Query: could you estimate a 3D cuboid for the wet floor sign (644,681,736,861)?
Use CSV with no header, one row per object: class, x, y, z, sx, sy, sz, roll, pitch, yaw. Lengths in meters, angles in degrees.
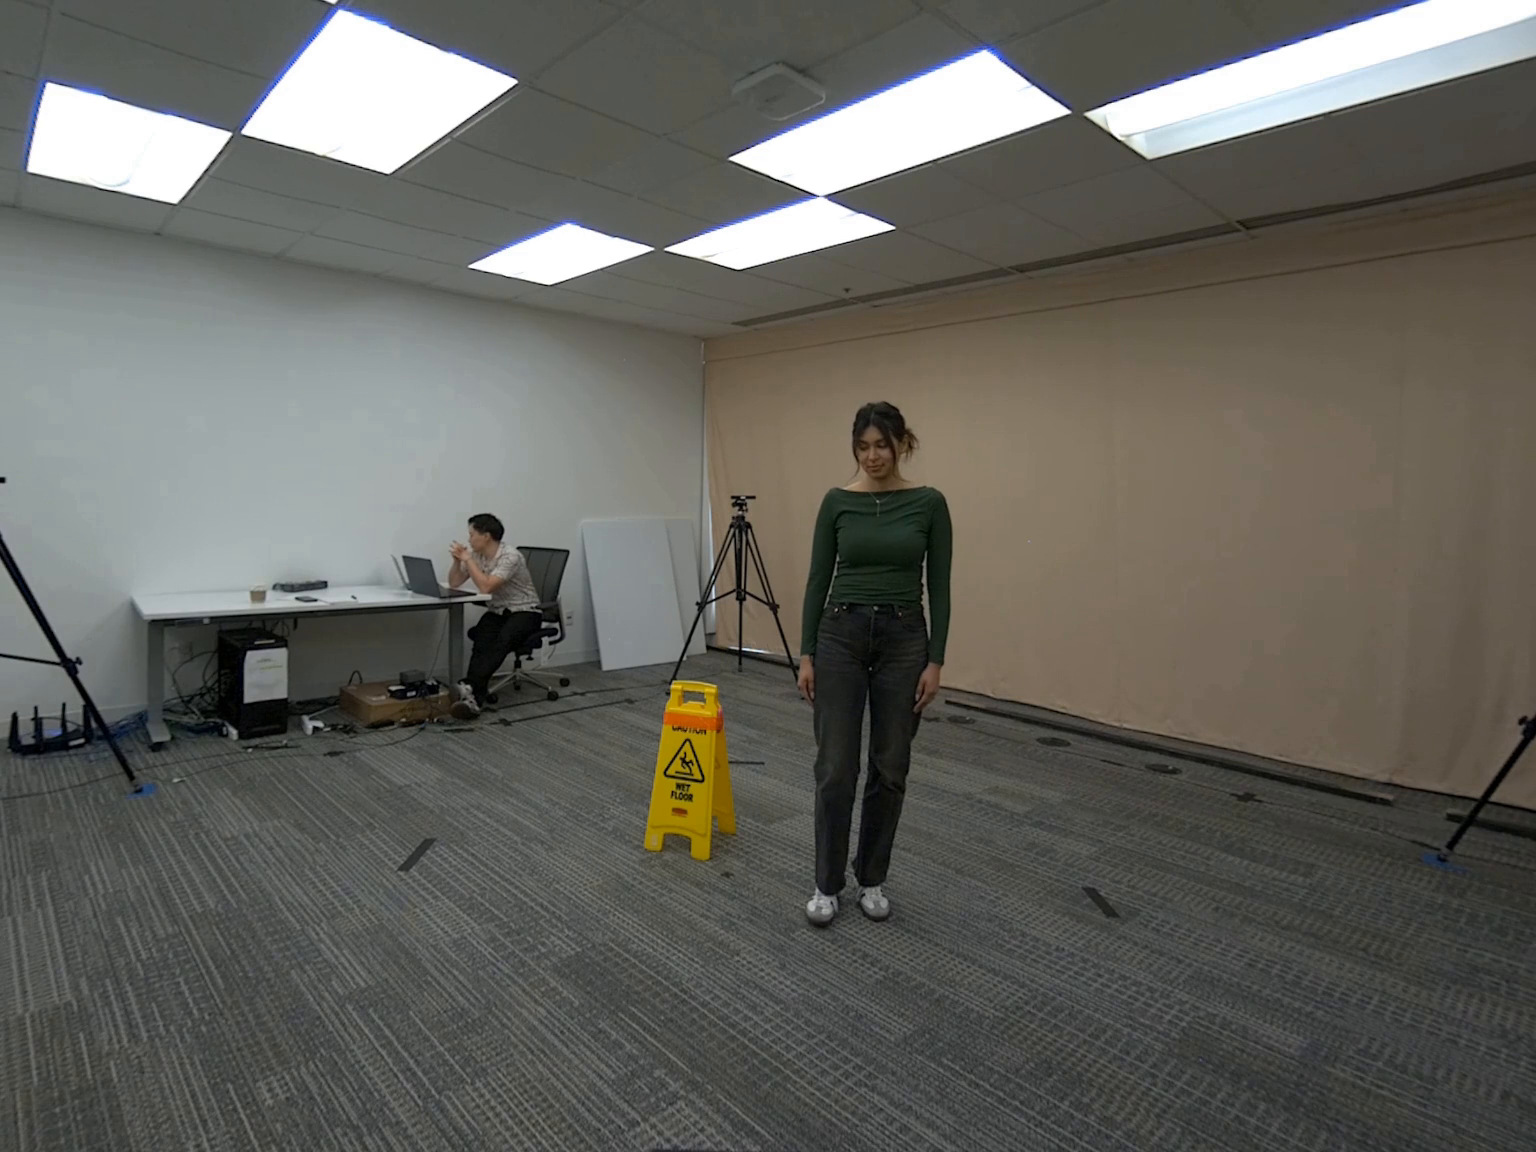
wet floor sign,-0.312,0.750,3.386,0.287,0.644,0.286,2,3,20
